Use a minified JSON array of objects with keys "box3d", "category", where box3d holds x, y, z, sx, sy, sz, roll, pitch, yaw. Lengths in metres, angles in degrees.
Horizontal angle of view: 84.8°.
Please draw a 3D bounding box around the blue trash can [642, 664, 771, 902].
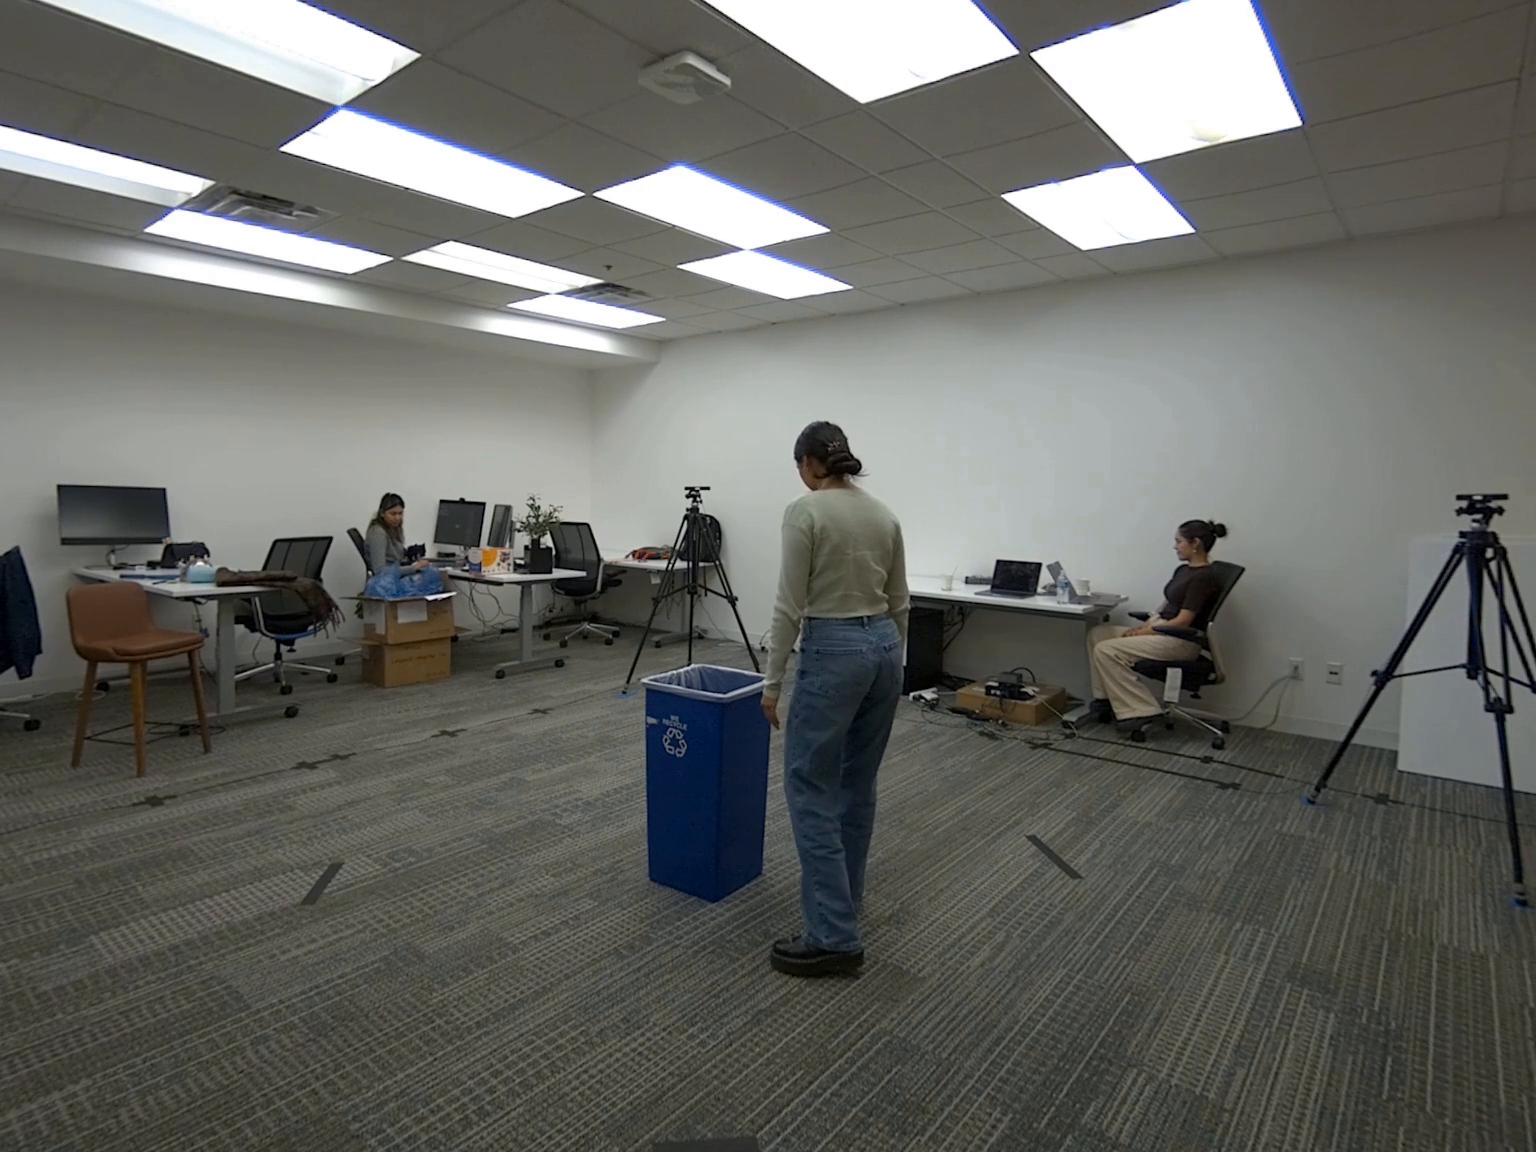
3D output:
[{"box3d":[-0.217,0.714,3.027,0.386,0.711,0.368,3,4,33],"category":"blue trash can"}]
